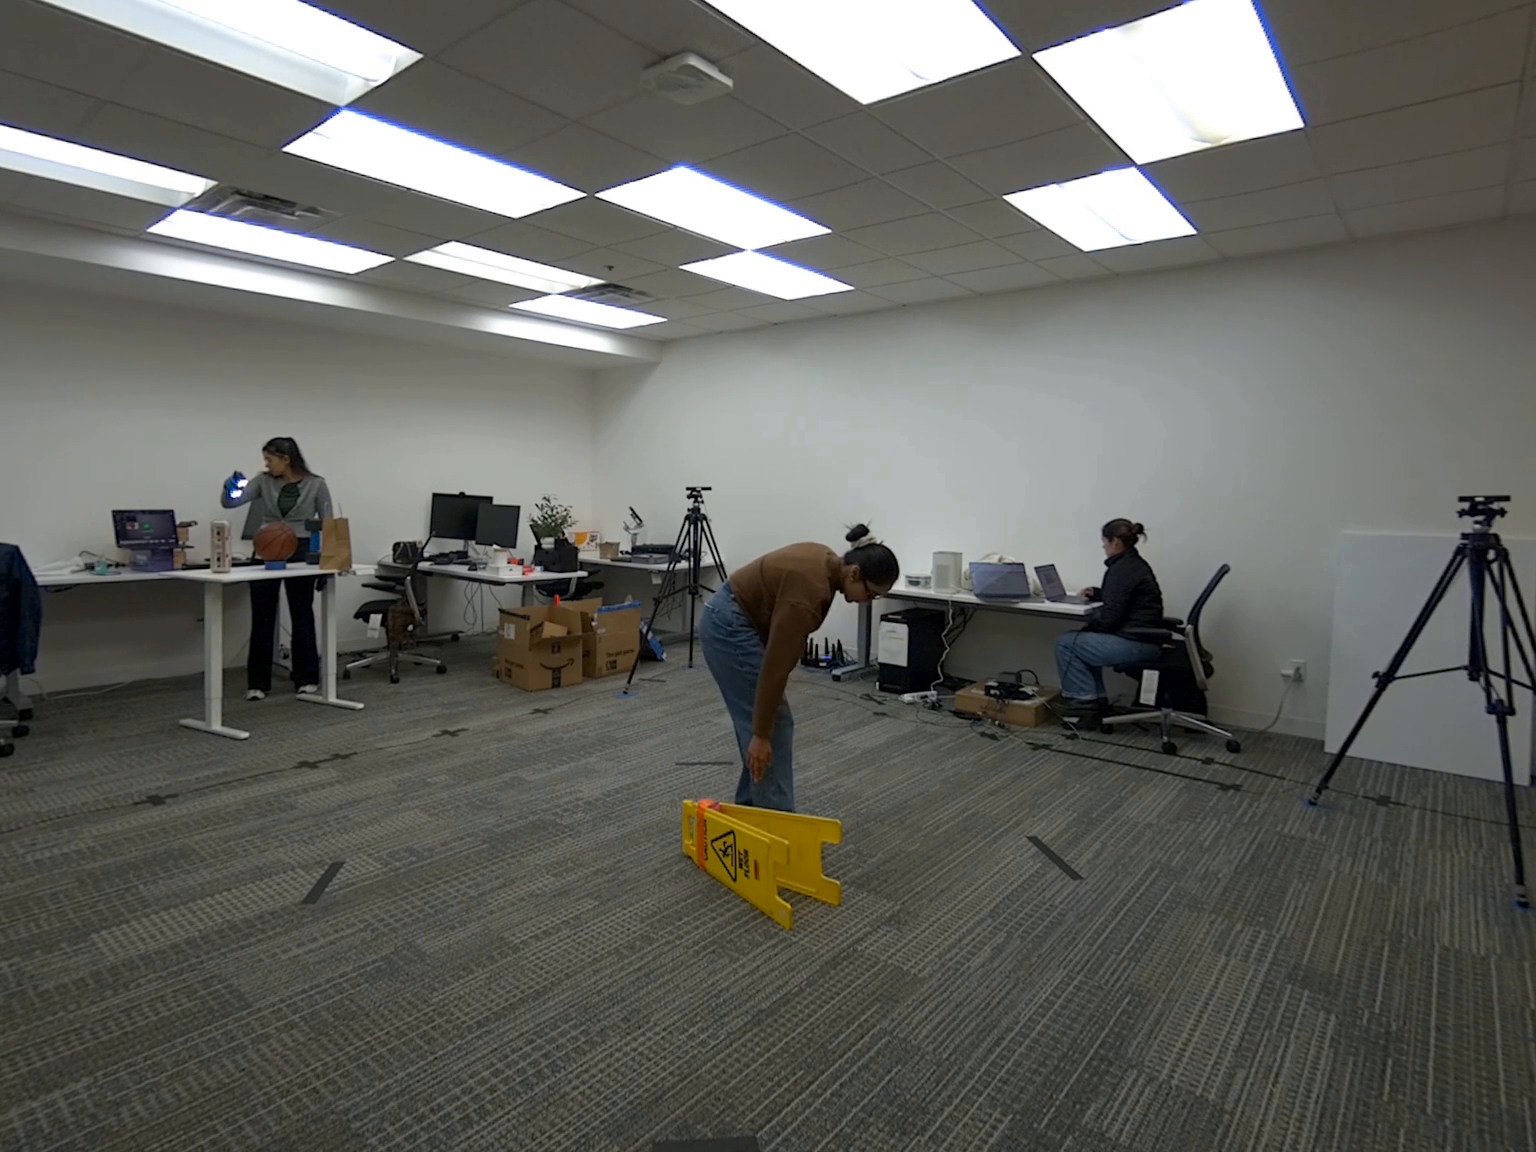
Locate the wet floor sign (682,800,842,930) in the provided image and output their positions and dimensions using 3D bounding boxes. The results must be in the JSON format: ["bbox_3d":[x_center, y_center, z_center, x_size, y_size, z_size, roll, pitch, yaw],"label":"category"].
[{"bbox_3d":[-0.092,0.953,2.989,0.667,0.282,0.281,2,4,44],"label":"wet floor sign"}]
